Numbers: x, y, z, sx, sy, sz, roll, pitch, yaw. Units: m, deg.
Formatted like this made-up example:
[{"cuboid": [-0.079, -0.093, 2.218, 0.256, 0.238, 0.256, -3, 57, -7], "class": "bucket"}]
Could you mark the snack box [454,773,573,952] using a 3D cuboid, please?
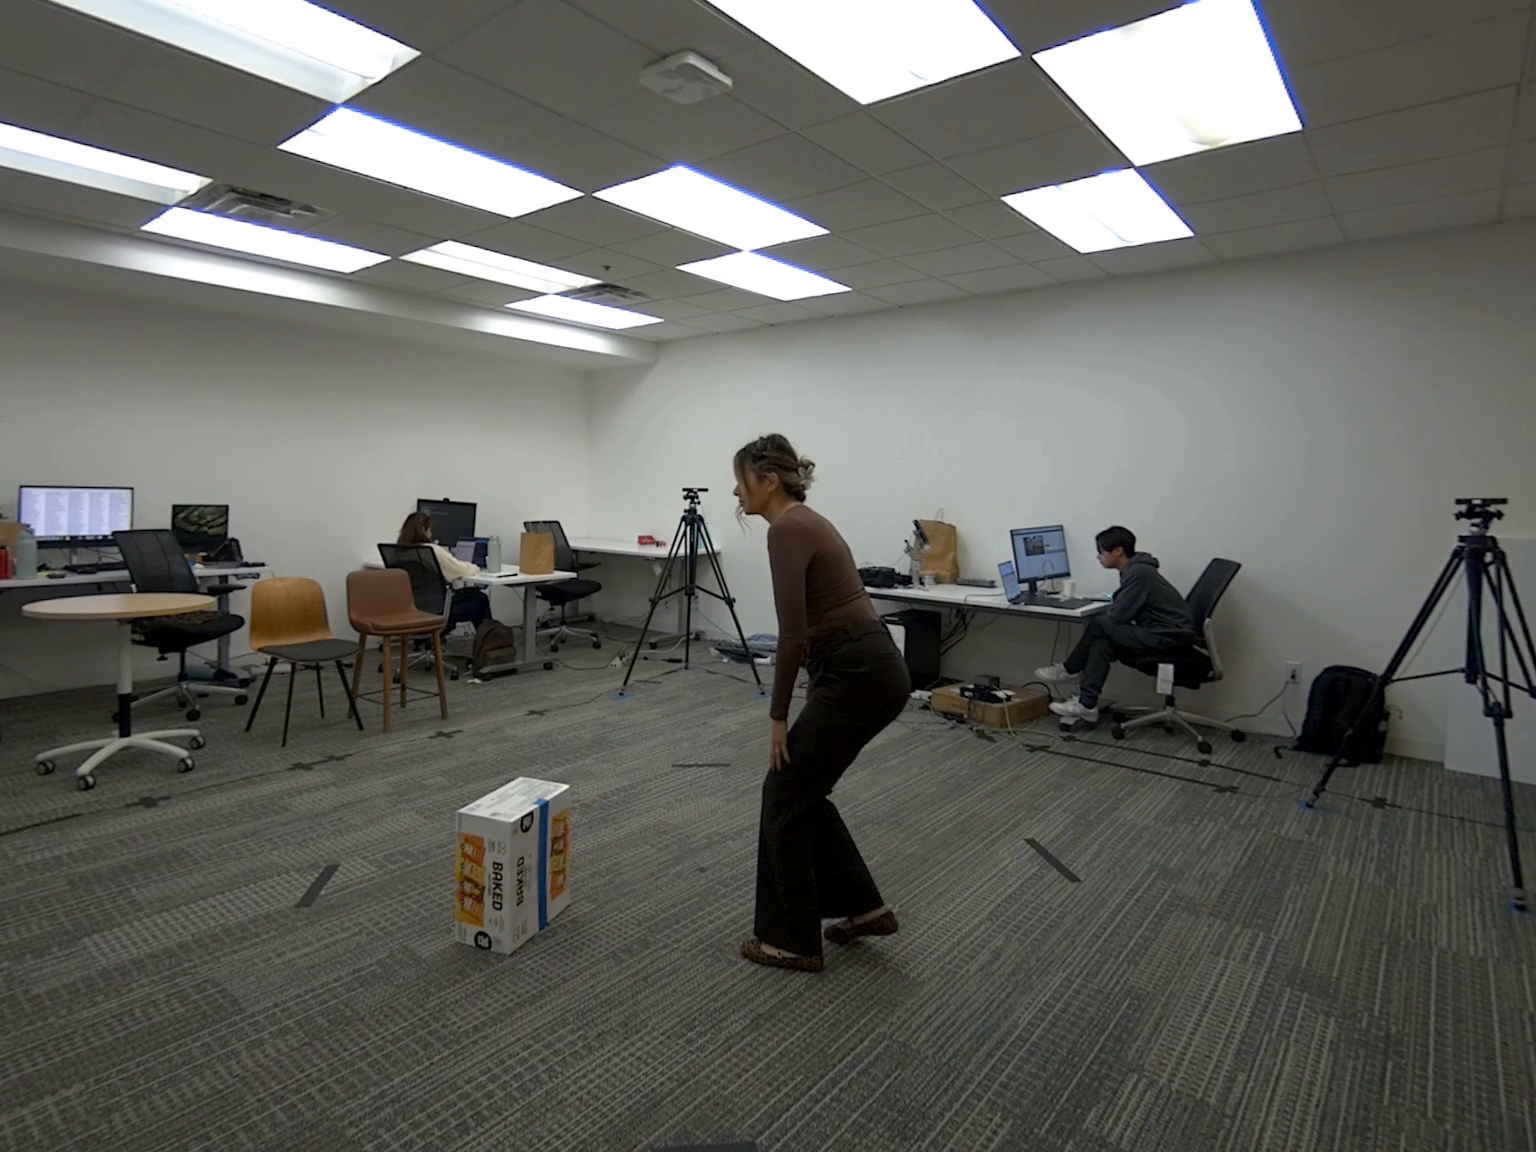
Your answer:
[{"cuboid": [-0.808, 0.895, 2.690, 0.210, 0.404, 0.334, 2, 4, 19], "class": "snack box"}]
